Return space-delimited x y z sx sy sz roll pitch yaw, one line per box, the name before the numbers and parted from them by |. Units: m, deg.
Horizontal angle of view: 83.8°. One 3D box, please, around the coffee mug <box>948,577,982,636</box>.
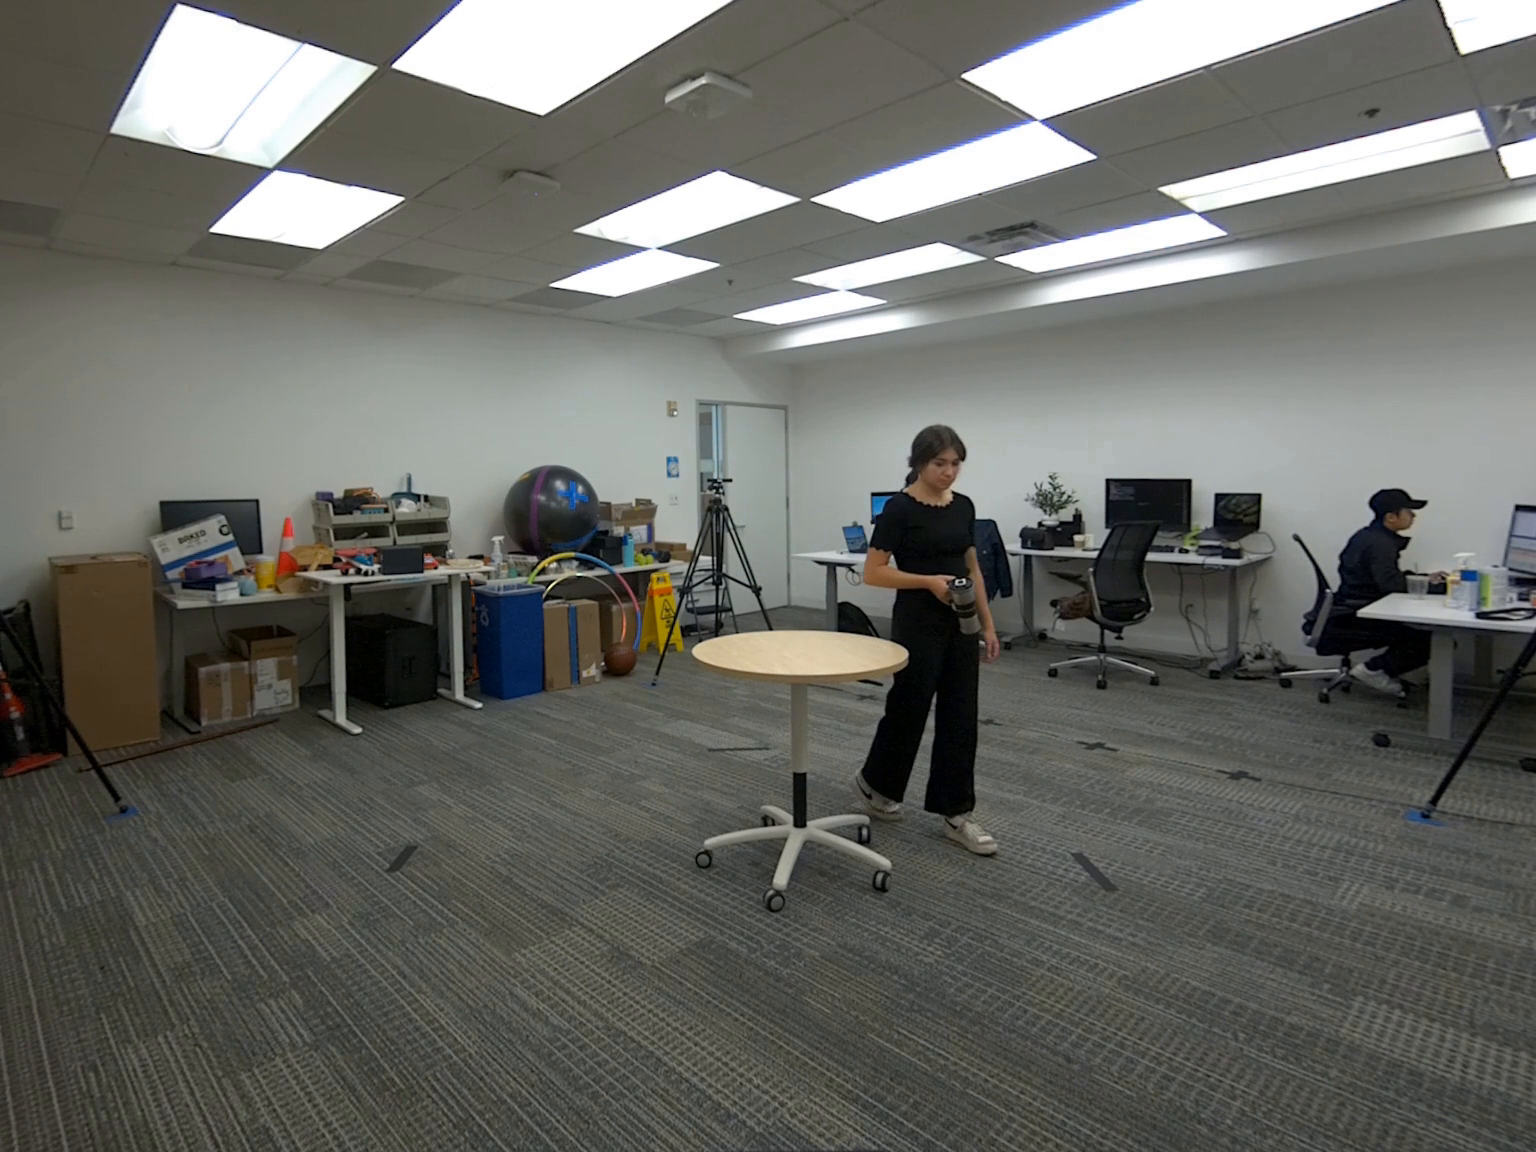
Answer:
coffee mug | 0.724 0.111 3.084 0.090 0.199 0.121 2 26 45
